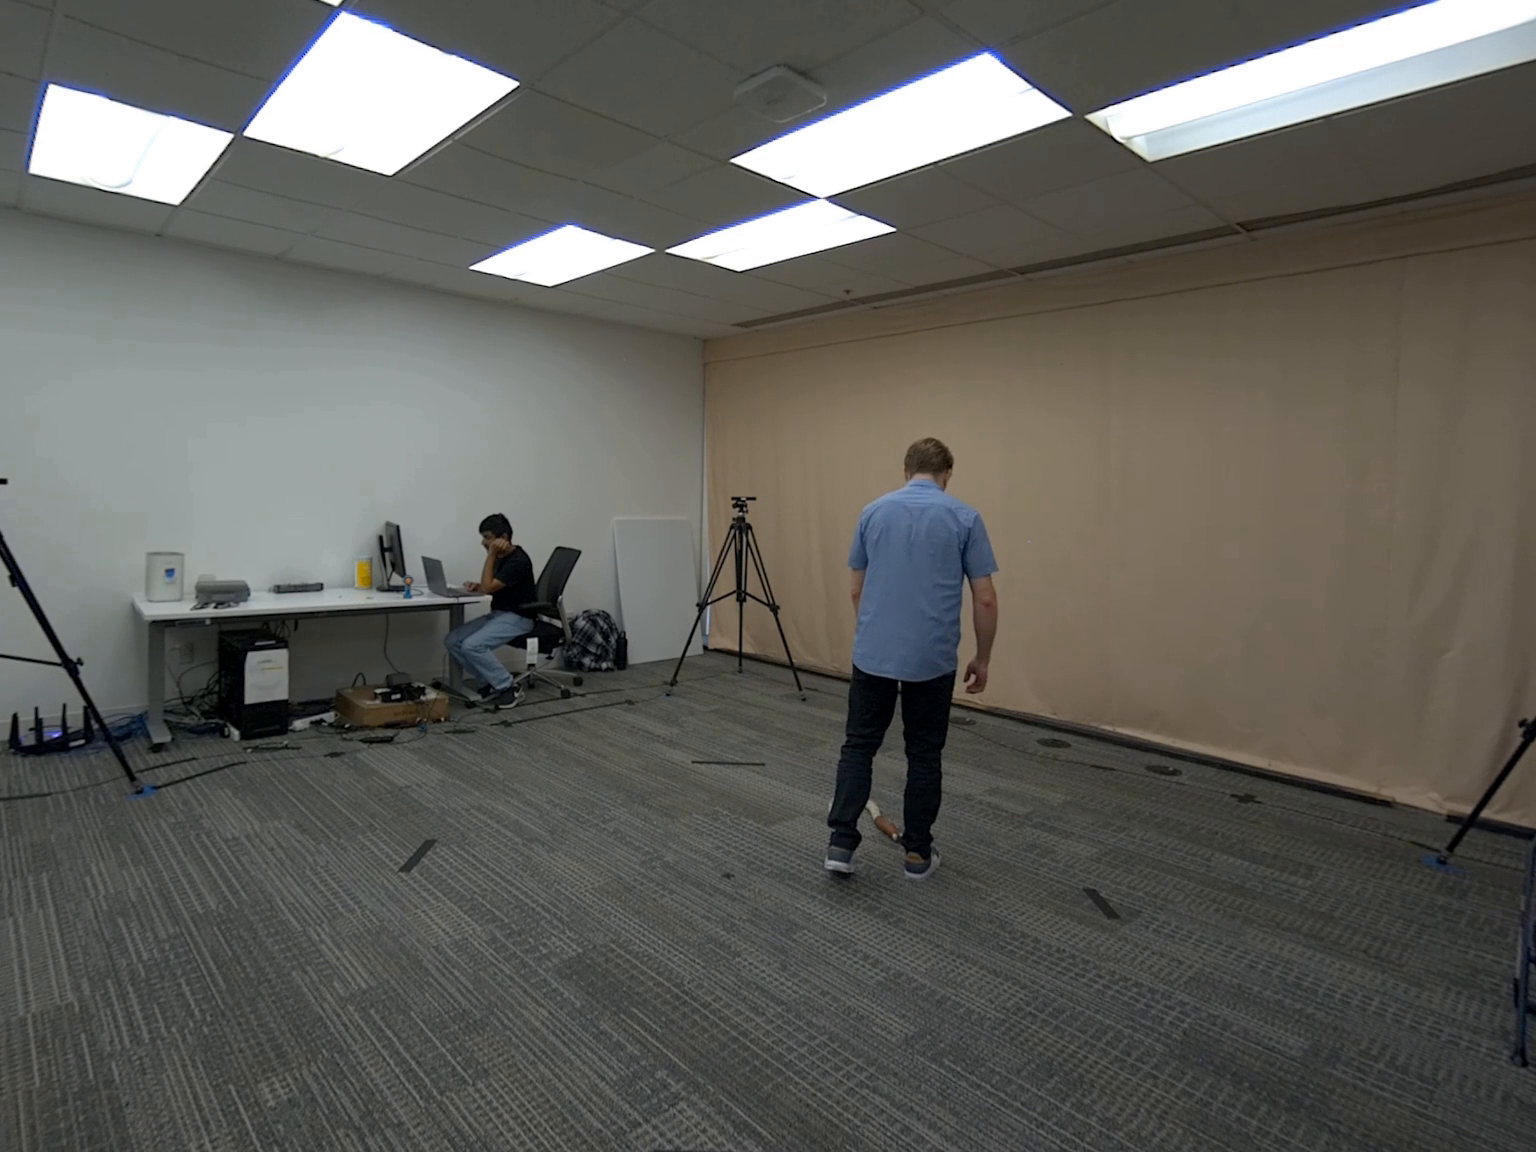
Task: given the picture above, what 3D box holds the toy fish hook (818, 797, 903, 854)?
[{"bbox_3d":[0.410,1.059,3.672,0.222,0.048,0.514,-8,6,-15],"label":"toy fish hook"}]
